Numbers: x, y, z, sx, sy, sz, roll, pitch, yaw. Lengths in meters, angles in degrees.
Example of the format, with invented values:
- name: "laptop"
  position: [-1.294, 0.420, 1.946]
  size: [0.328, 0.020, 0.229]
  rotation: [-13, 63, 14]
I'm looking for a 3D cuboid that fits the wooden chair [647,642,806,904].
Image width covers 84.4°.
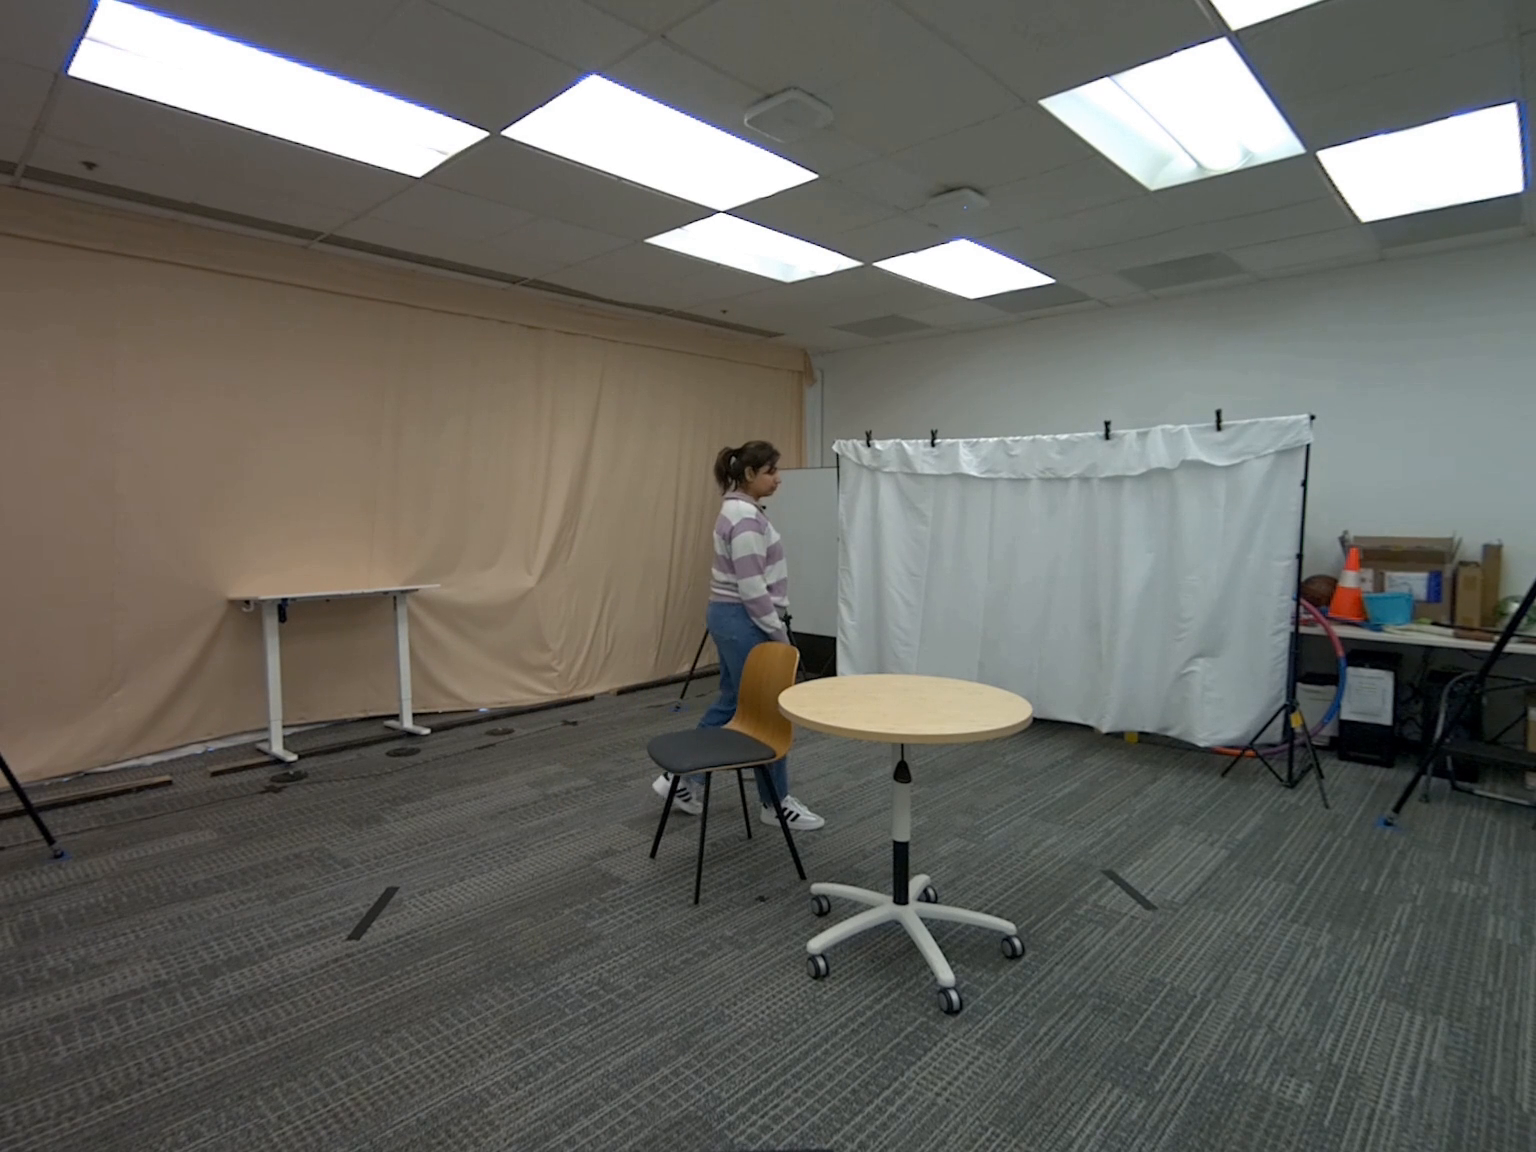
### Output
- name: "wooden chair"
  position: [-0.170, 0.698, 3.198]
  size: [0.509, 0.876, 0.491]
  rotation: [3, 2, -27]
